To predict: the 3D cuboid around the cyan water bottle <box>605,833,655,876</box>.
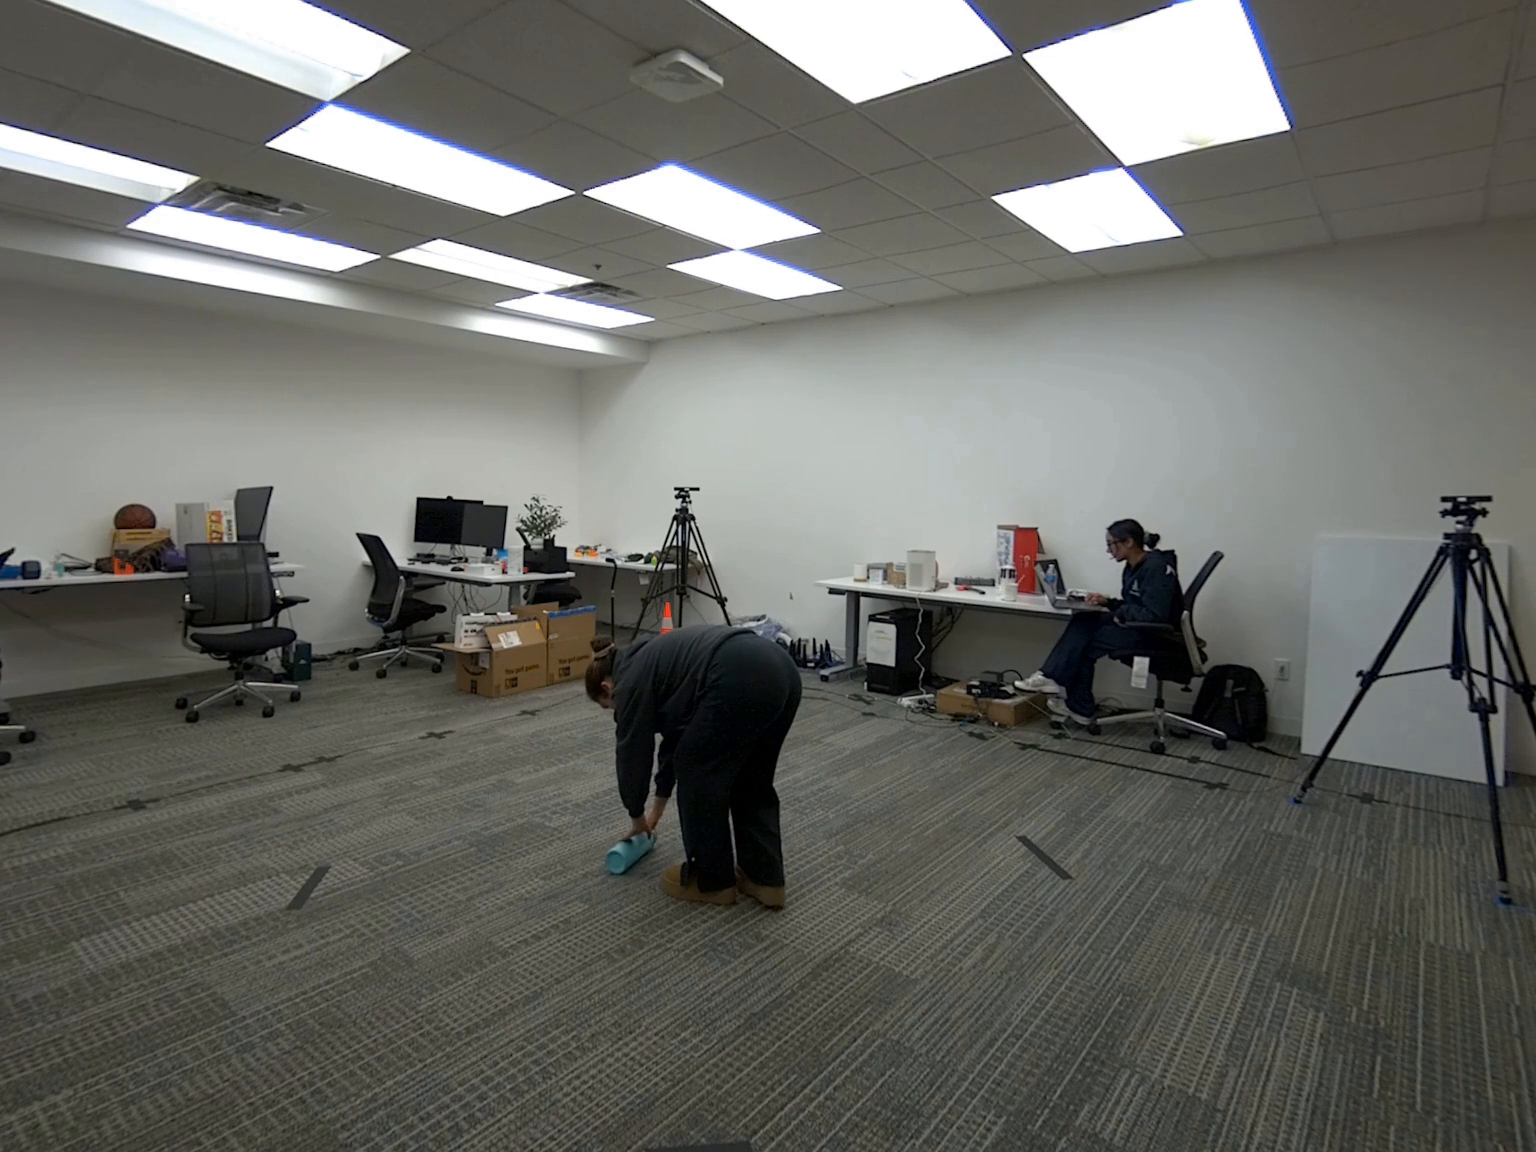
[{"bbox_3d":[-0.501,1.009,3.175,0.094,0.092,0.278,2,5,19],"label":"cyan water bottle"}]
